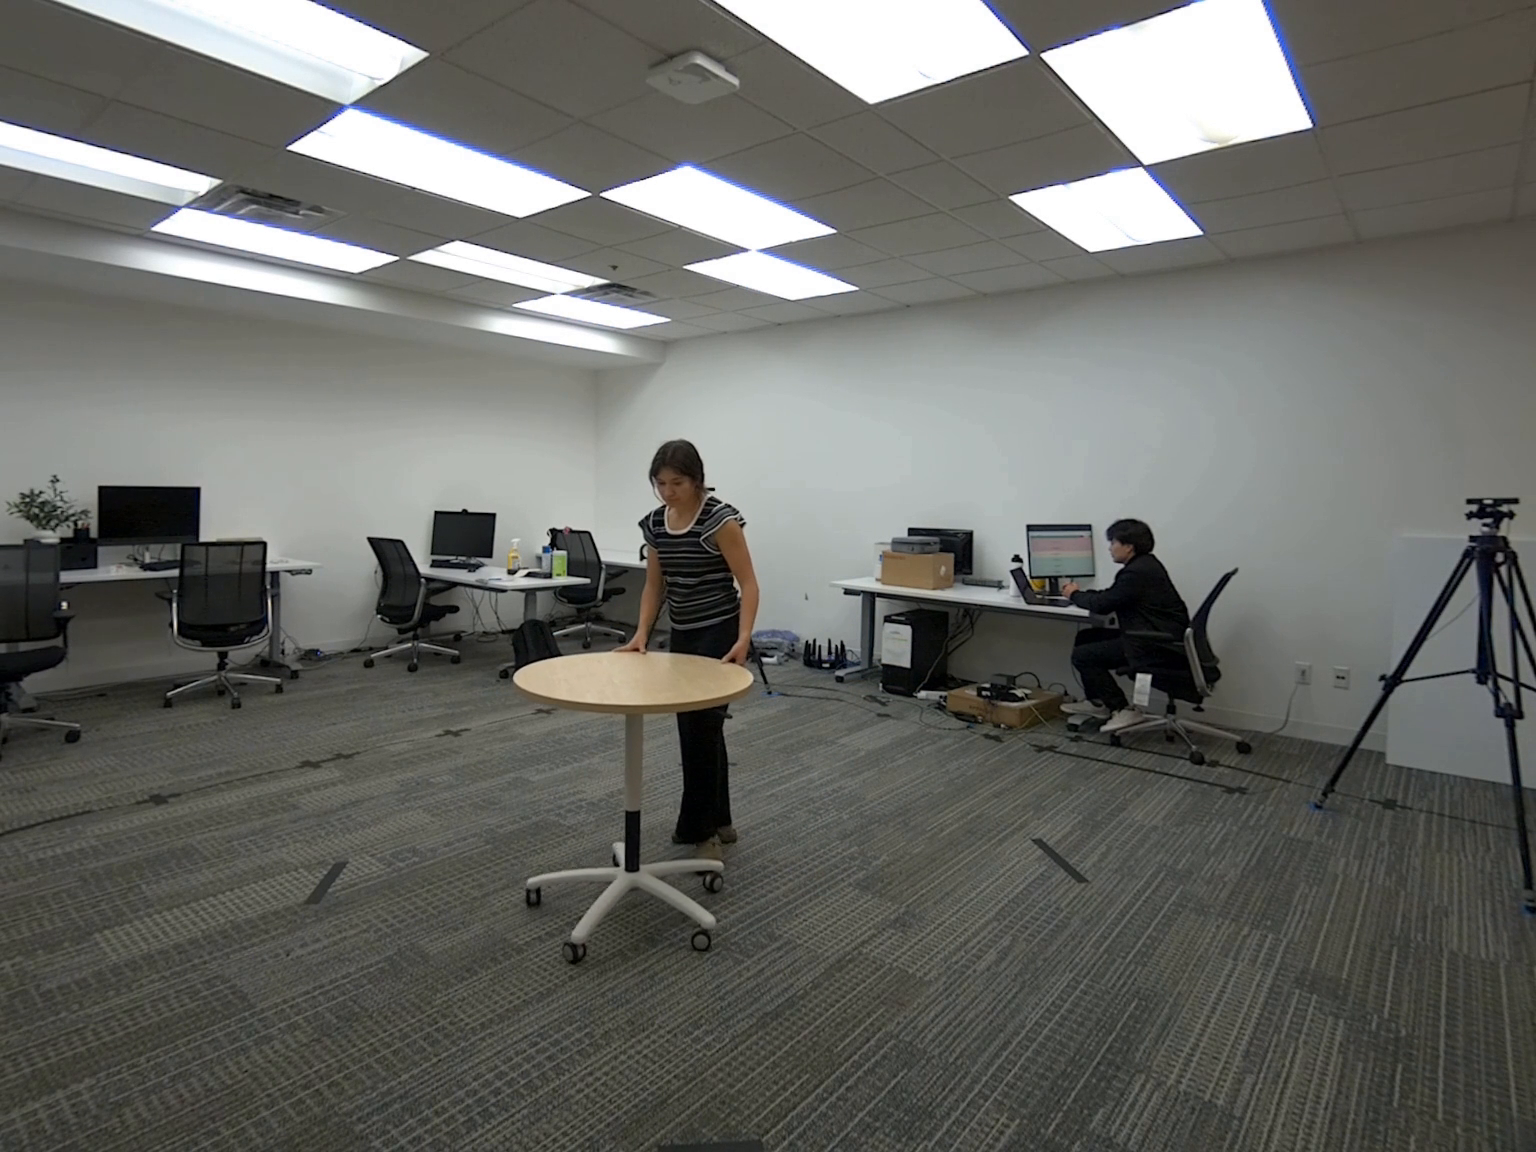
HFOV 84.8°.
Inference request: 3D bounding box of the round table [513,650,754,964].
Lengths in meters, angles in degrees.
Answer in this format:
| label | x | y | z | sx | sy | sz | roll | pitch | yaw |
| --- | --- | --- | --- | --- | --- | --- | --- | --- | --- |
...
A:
| label | x | y | z | sx | sy | sz | roll | pitch | yaw |
| --- | --- | --- | --- | --- | --- | --- | --- | --- | --- |
| round table | -0.438 | 0.700 | 2.765 | 0.784 | 0.784 | 0.789 | 1 | 4 | -2 |
